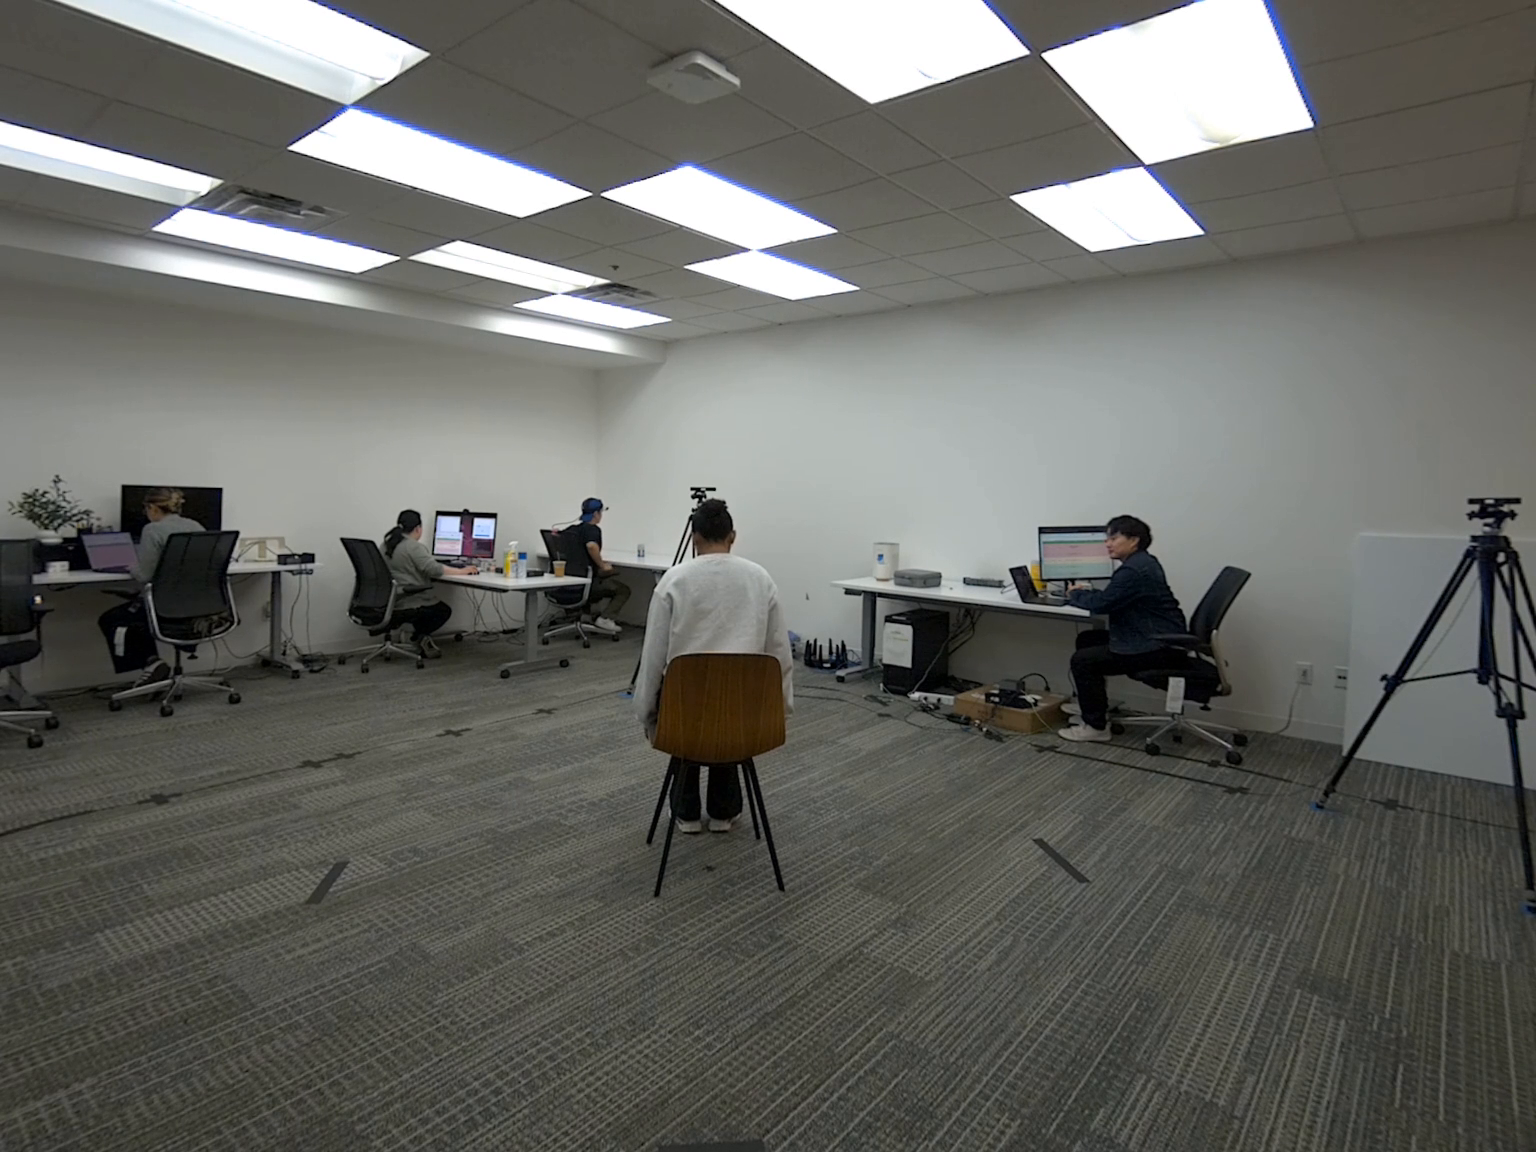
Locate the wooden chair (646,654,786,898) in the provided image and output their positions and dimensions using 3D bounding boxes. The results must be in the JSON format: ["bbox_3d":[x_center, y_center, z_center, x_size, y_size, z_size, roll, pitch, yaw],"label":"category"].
[{"bbox_3d":[-0.212,0.638,3.113,0.473,0.872,0.532,0,7,-11],"label":"wooden chair"}]
